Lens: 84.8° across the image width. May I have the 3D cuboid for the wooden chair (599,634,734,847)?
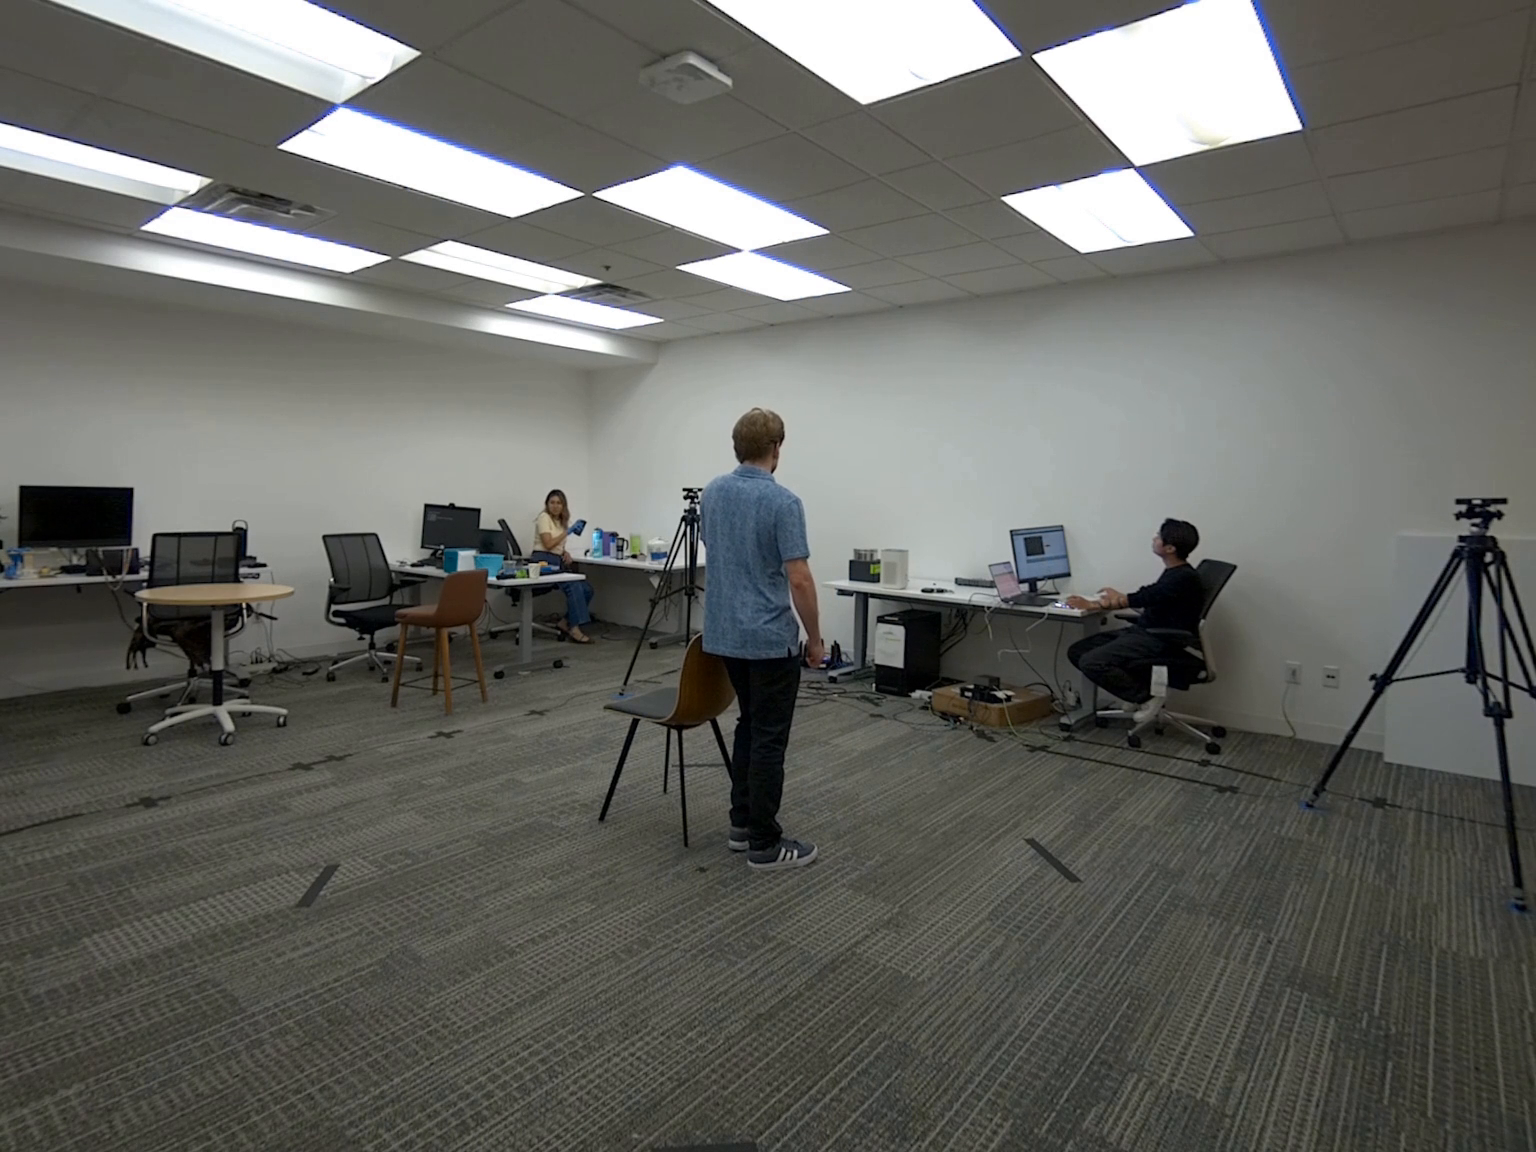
[{"bbox_3d":[-0.407,0.591,3.579,0.540,0.873,0.465,8,7,32],"label":"wooden chair"}]
